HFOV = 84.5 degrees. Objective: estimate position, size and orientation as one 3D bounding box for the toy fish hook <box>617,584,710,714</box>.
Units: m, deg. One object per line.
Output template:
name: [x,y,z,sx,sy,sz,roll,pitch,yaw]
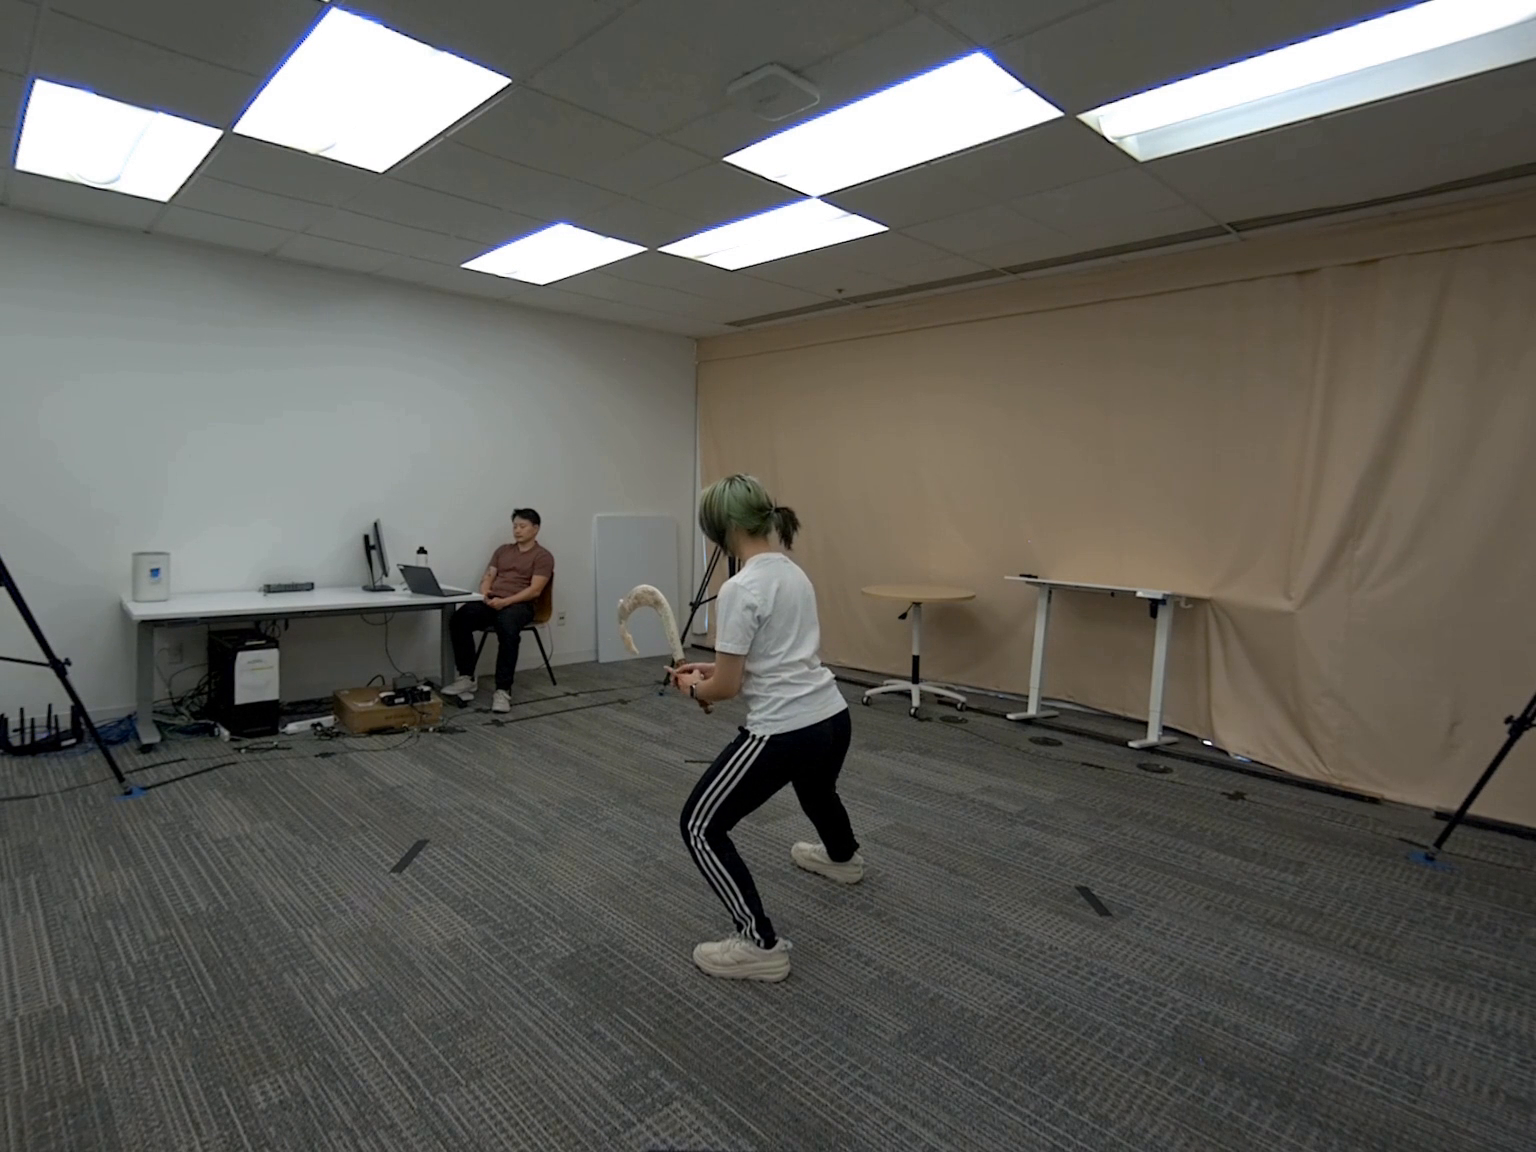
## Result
toy fish hook: [-0.359,0.270,2.823,0.225,0.517,0.047,-41,-22,23]
